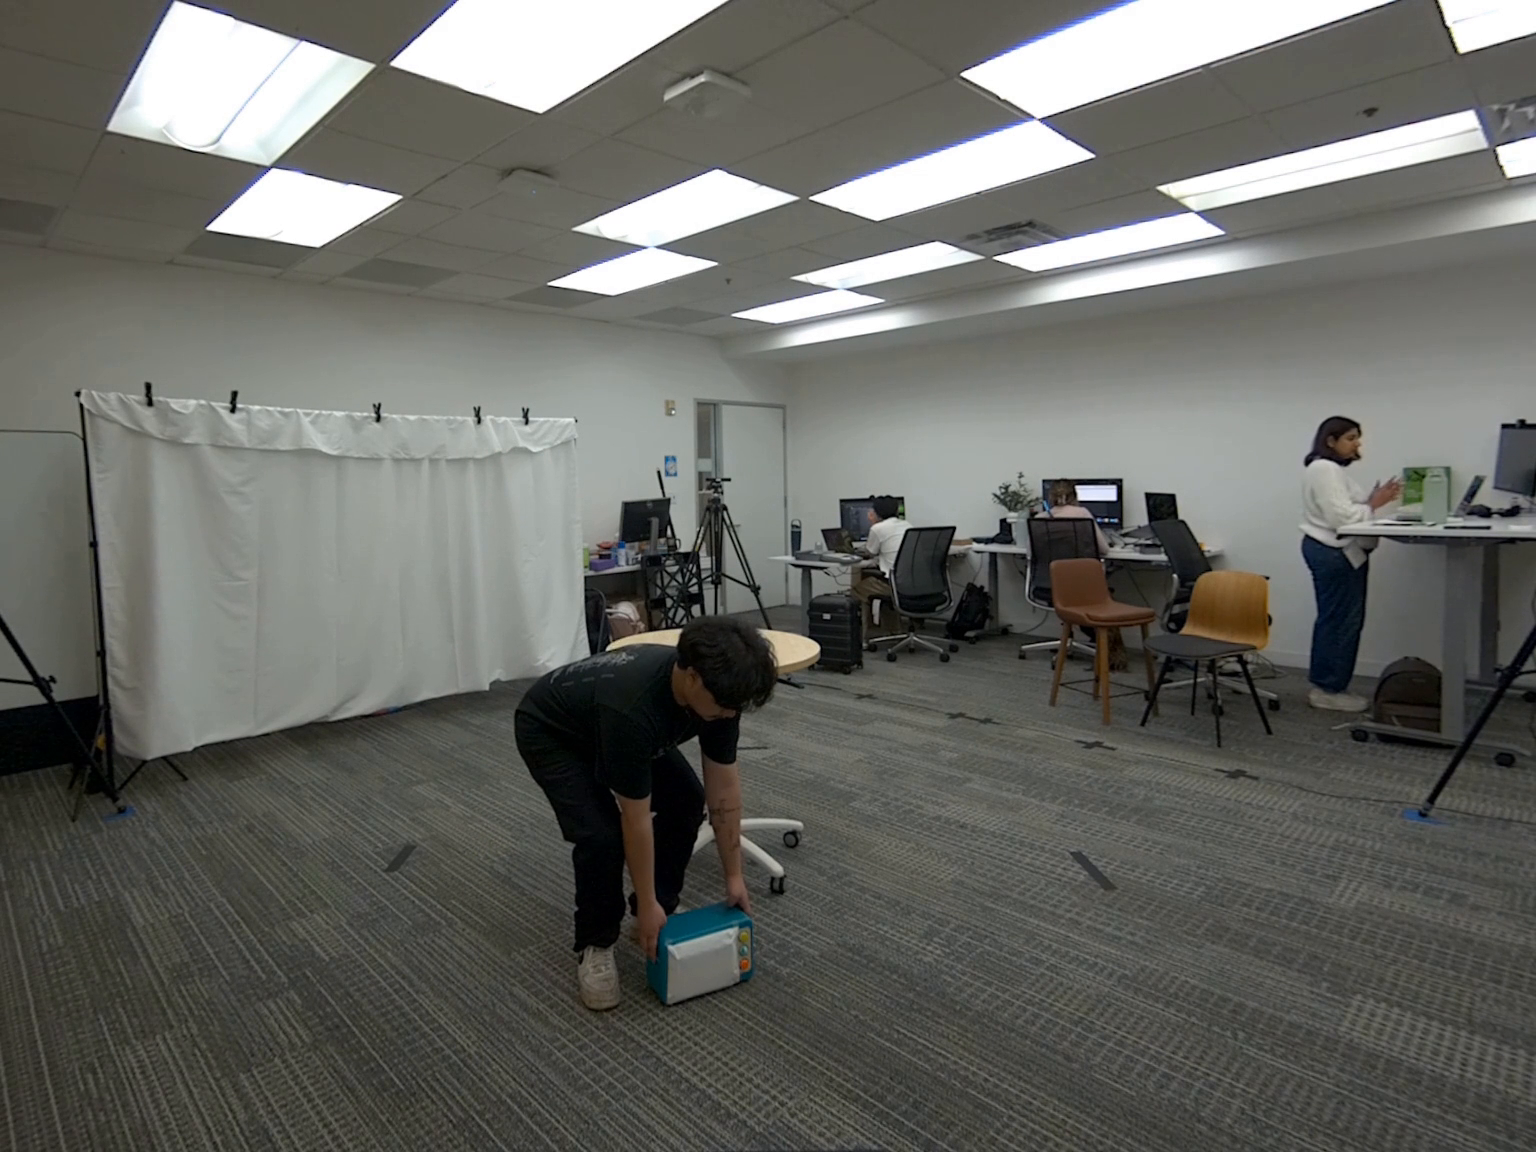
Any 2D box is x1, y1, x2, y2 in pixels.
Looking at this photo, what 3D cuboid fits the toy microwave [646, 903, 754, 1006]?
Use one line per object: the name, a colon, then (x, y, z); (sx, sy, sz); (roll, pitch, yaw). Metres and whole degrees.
toy microwave: (-0.192, 1.037, 2.369); (0.280, 0.183, 0.156); (-6, 7, -29)
